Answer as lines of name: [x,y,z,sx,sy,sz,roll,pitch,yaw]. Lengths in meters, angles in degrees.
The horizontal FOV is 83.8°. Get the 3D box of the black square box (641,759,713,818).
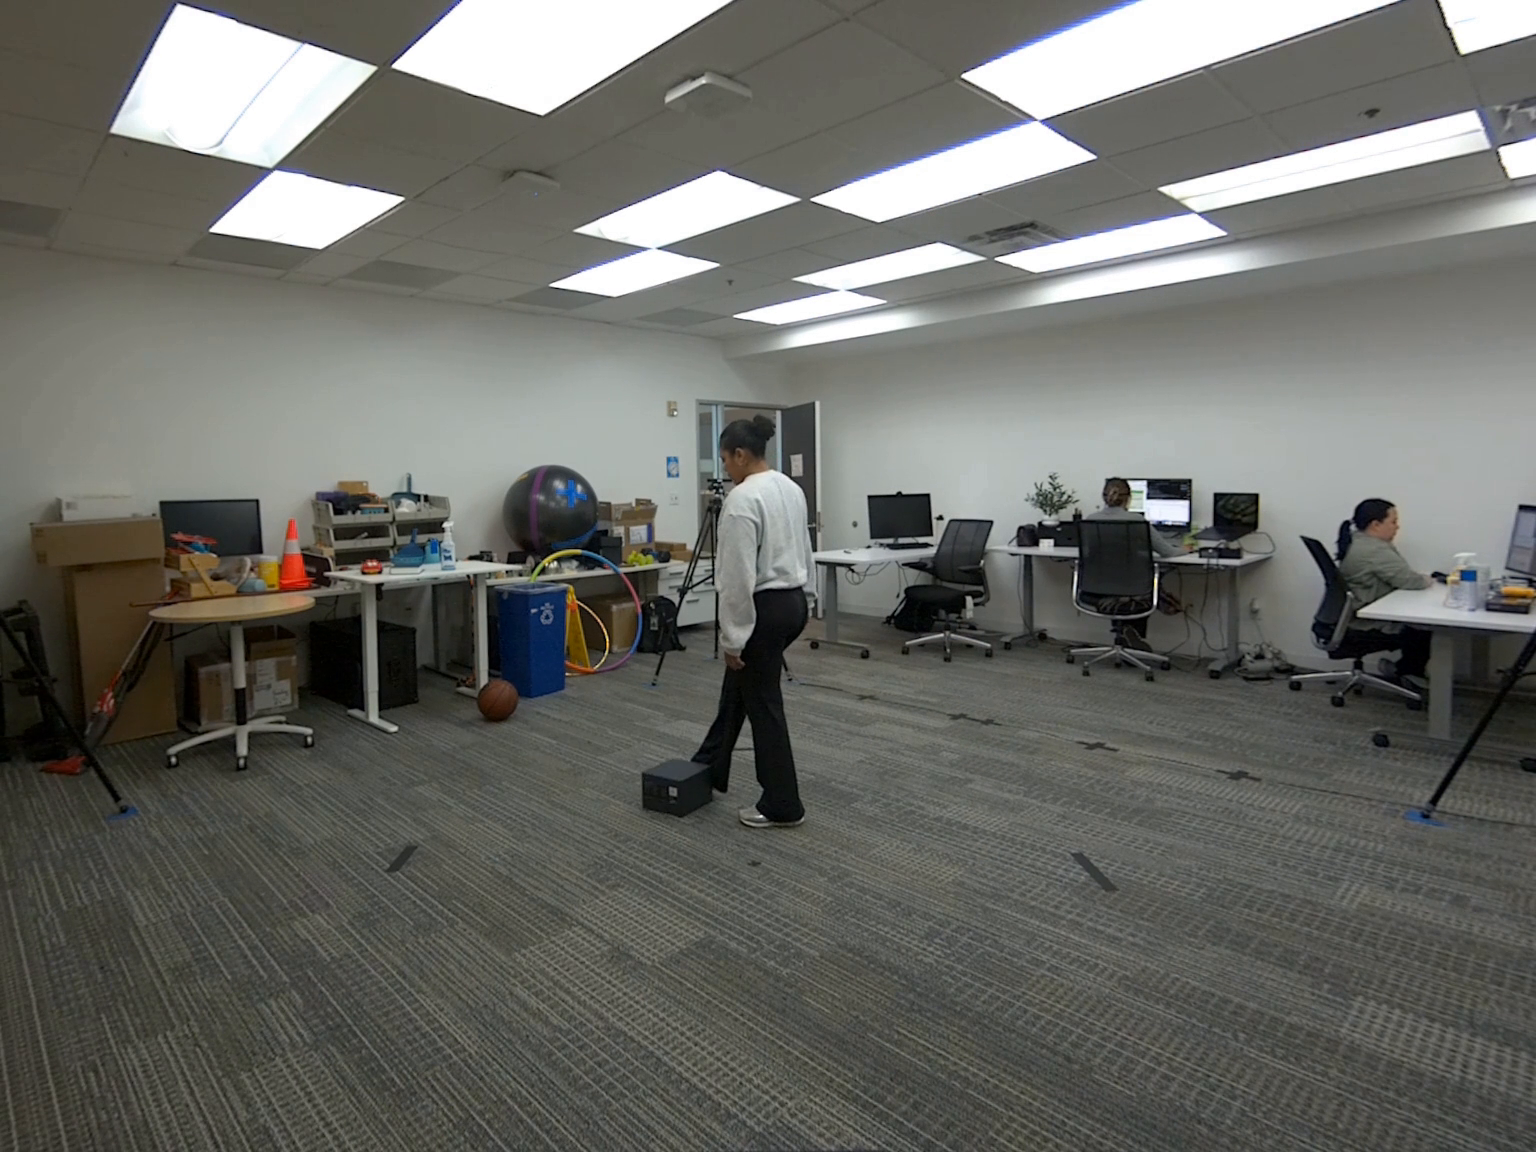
black square box: [-0.383,0.904,3.684,0.223,0.155,0.223,2,6,32]
